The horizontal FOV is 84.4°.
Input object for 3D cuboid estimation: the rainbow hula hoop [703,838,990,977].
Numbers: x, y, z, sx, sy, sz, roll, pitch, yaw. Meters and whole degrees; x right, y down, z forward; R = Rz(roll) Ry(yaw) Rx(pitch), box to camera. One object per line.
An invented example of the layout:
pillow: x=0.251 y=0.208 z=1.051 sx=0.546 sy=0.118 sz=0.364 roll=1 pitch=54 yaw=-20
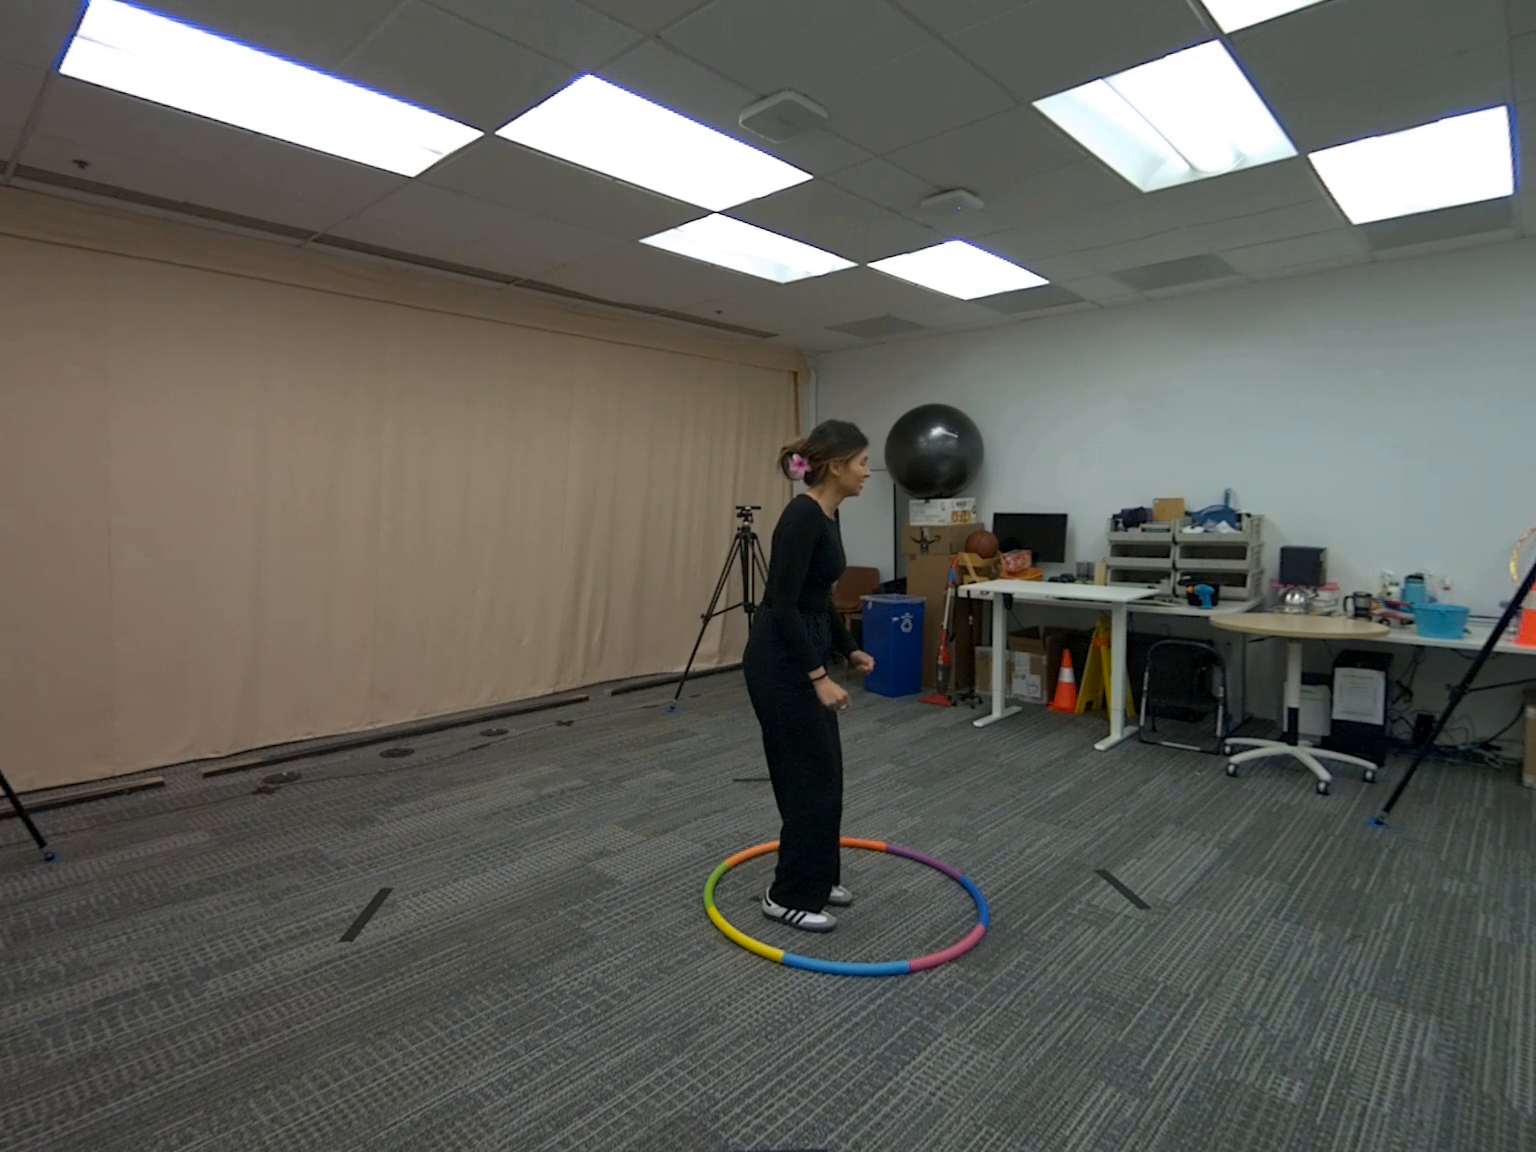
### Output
rainbow hula hoop: x=0.263 y=1.116 z=2.970 sx=0.978 sy=0.035 sz=0.982 roll=0 pitch=5 yaw=-2
